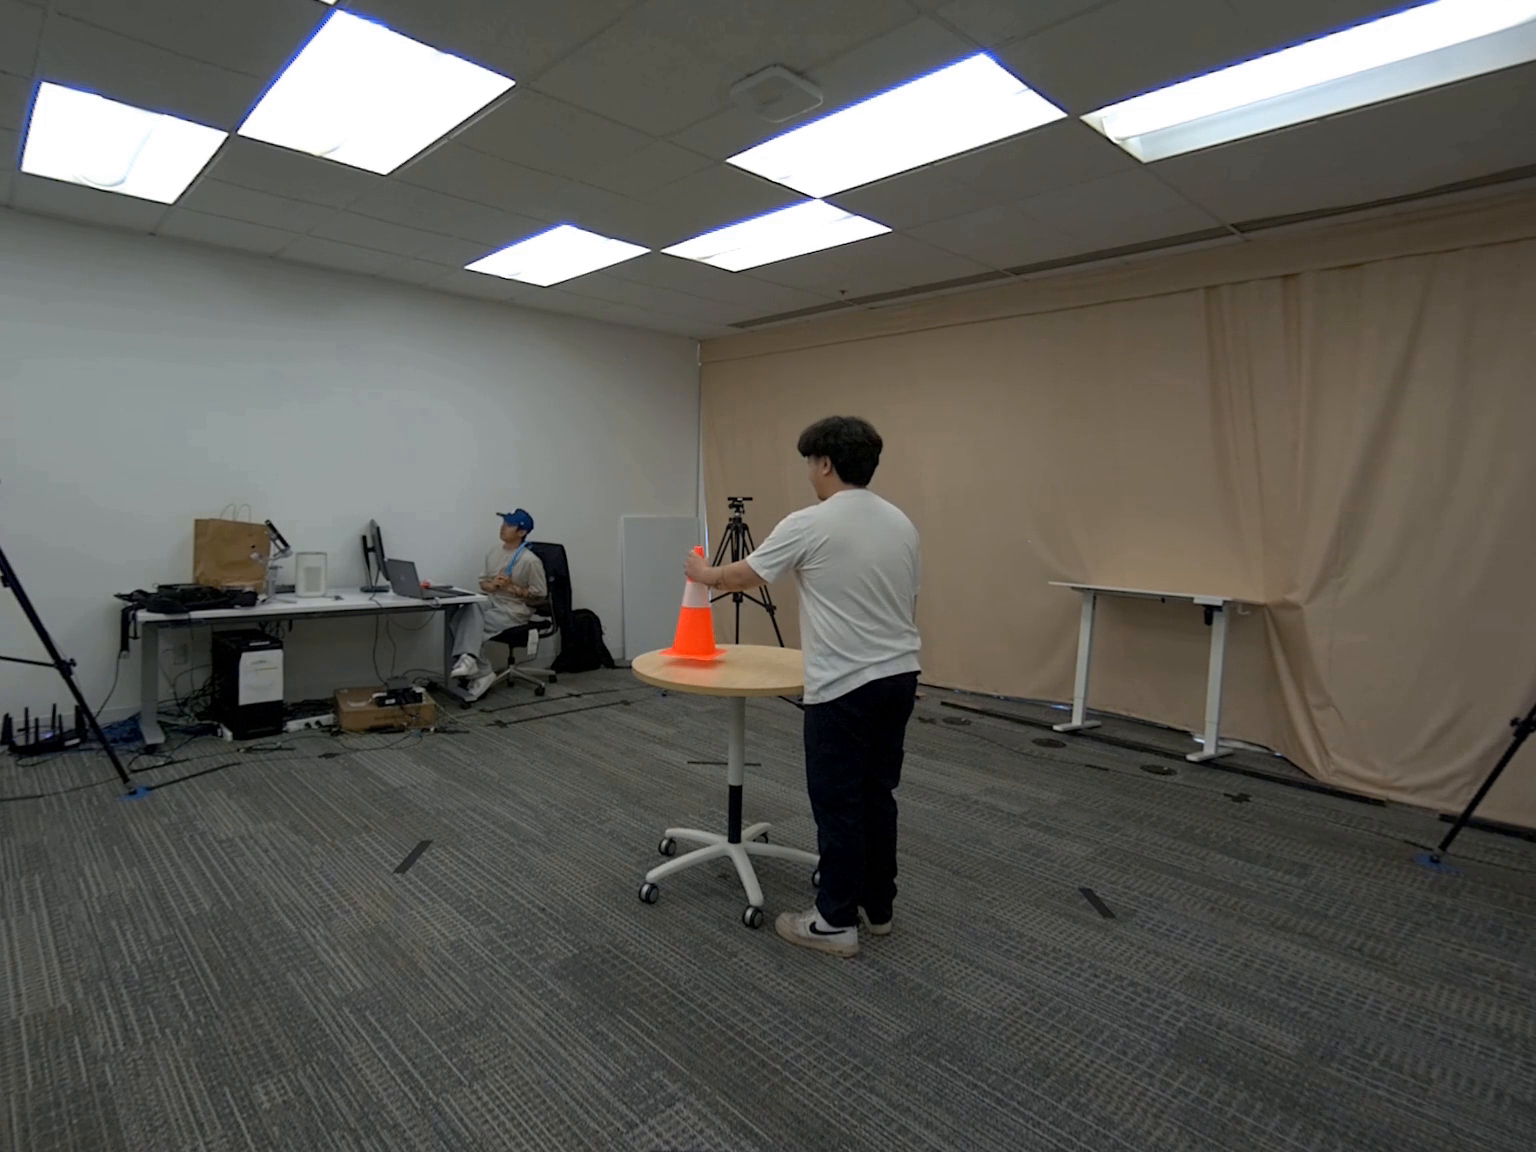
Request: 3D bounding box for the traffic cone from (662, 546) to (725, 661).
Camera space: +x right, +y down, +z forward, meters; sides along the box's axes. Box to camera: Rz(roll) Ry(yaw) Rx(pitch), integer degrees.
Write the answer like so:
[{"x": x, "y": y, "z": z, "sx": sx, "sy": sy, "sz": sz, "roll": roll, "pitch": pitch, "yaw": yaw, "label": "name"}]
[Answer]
[{"x": -0.259, "y": 0.093, "z": 3.012, "sx": 0.207, "sy": 0.383, "sz": 0.202, "roll": 4, "pitch": 4, "yaw": 21, "label": "traffic cone"}]
